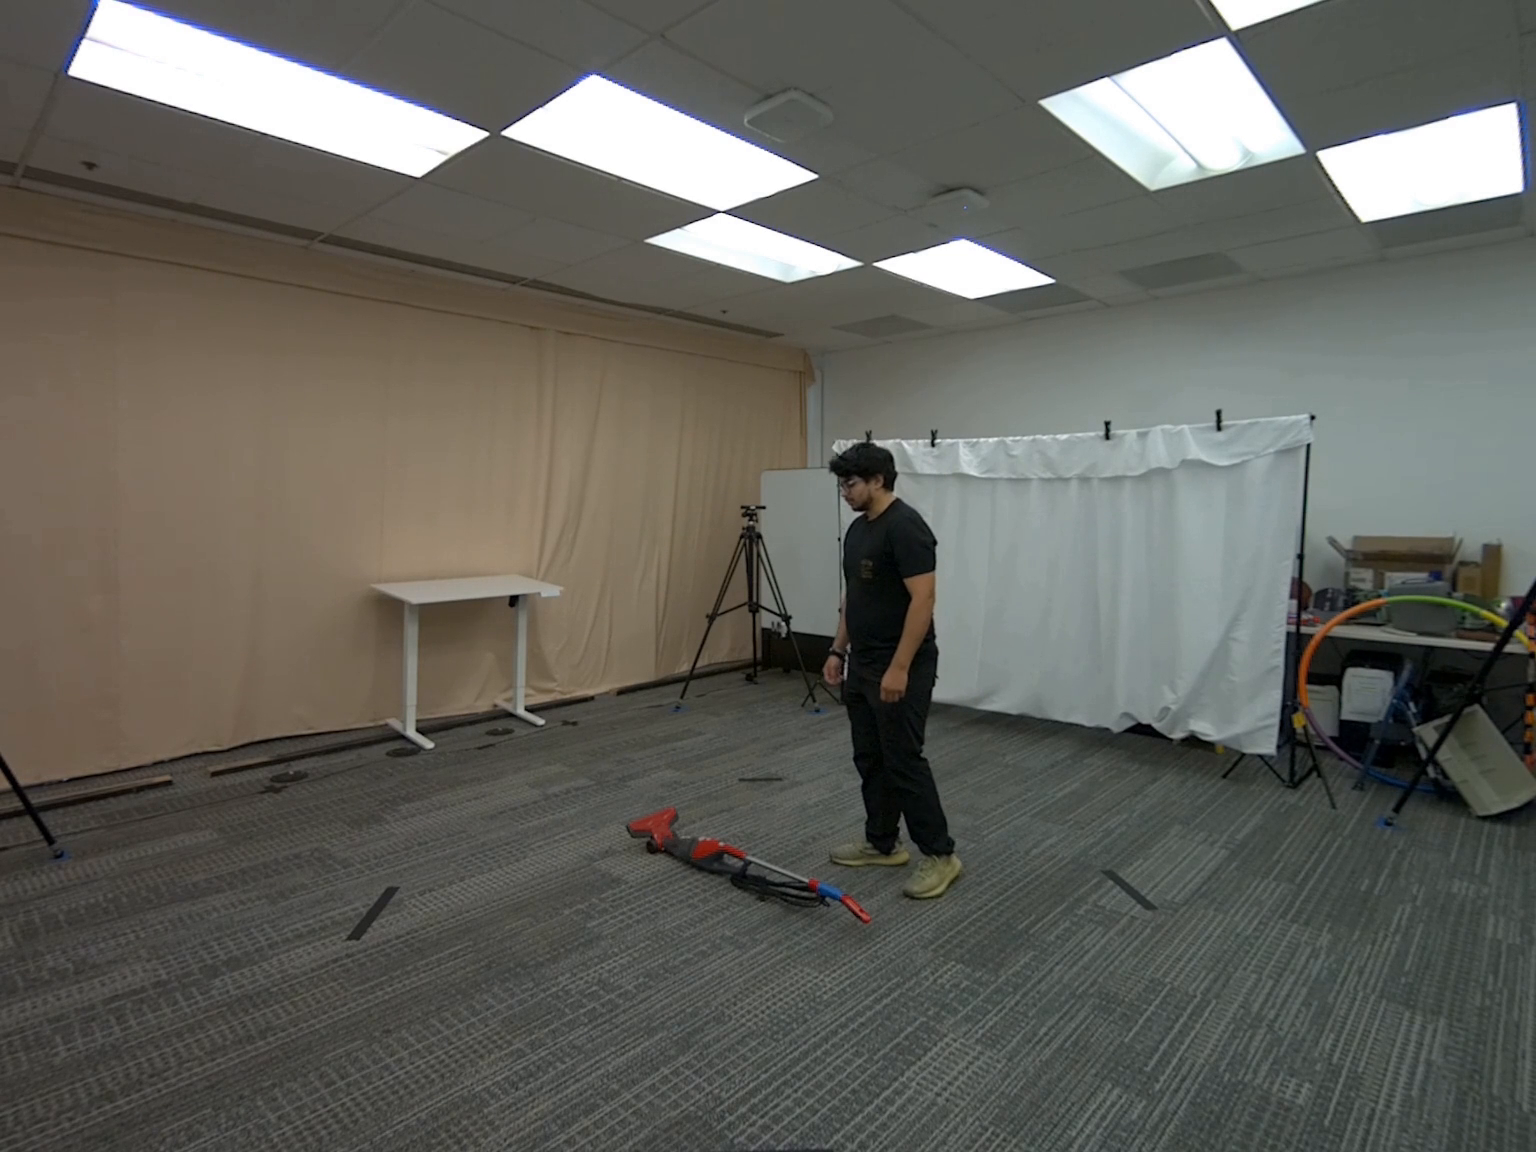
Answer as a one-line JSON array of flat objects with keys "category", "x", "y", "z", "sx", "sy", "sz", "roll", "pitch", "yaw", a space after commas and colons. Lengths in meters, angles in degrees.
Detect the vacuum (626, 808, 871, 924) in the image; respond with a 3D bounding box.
[{"category": "vacuum", "x": -0.069, "y": 1.078, "z": 3.074, "sx": 1.085, "sy": 0.143, "sz": 0.245, "roll": 5, "pitch": 8, "yaw": 44}]
